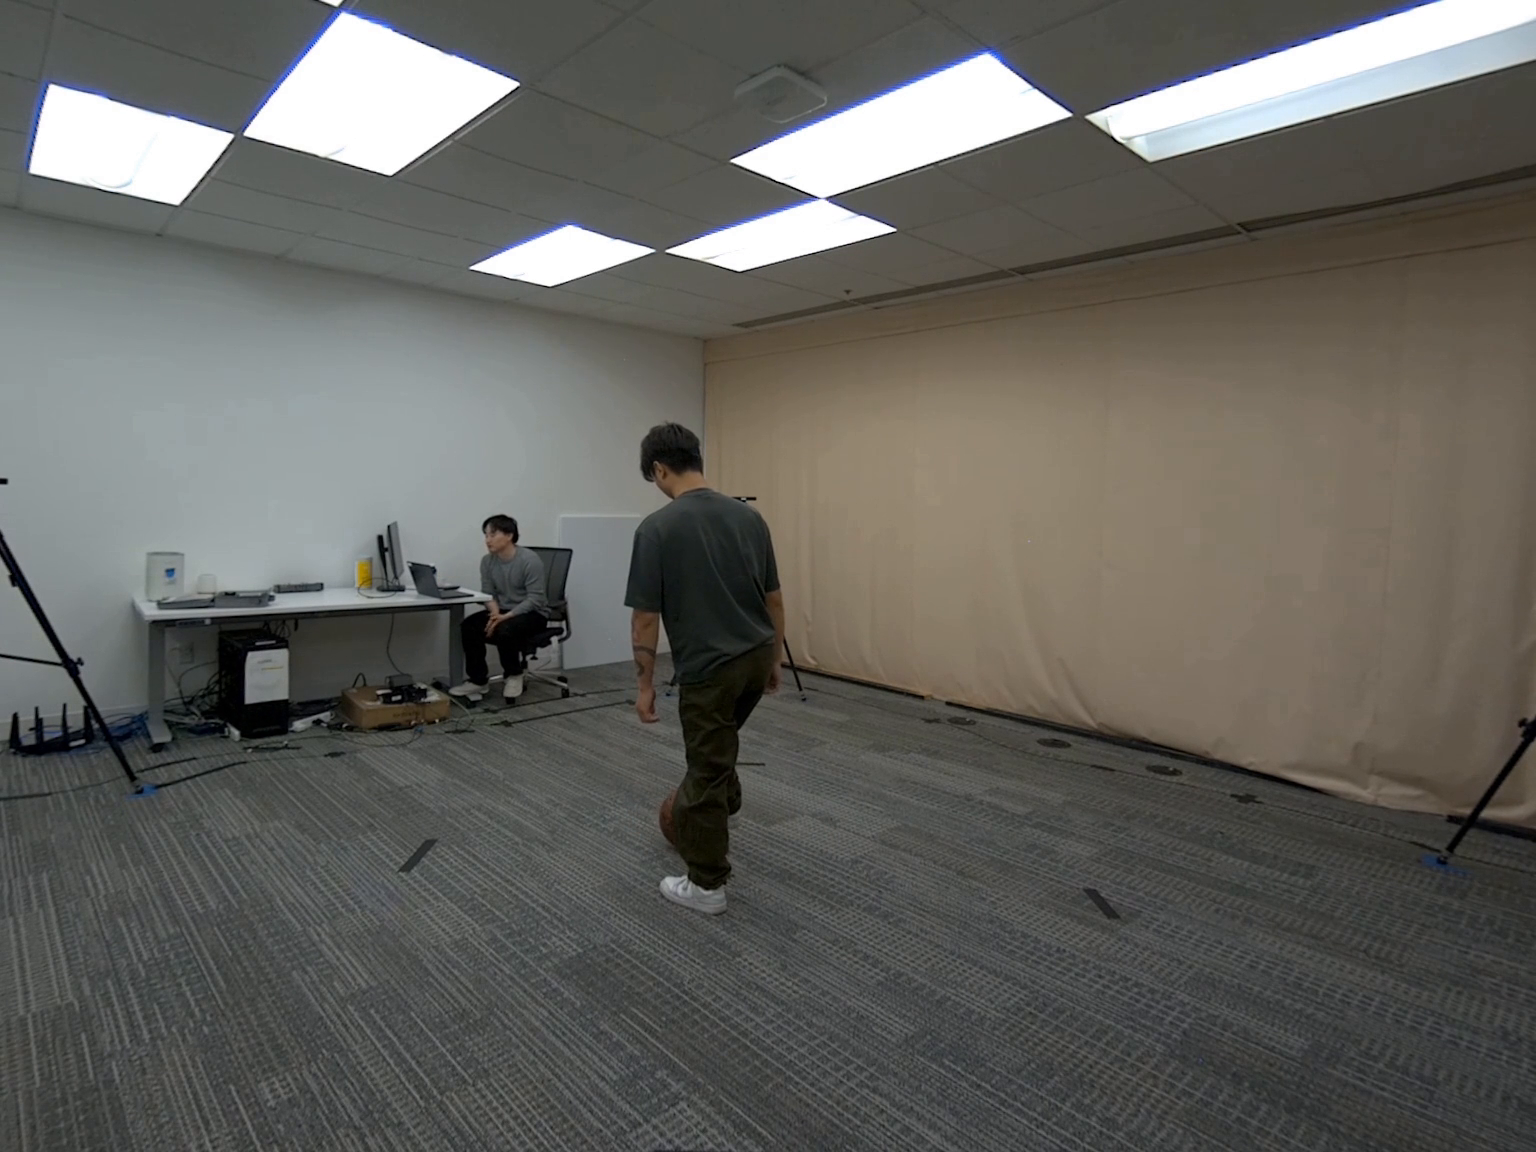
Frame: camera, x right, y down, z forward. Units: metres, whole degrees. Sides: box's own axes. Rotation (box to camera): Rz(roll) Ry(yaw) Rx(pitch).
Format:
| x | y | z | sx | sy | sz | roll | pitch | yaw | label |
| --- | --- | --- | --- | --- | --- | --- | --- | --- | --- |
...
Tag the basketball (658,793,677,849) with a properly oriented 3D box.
| x | y | z | sx | sy | sz | roll | pitch | yaw | label |
| --- | --- | --- | --- | --- | --- | --- | --- | --- | --- |
| -0.323 | 0.967 | 3.352 | 0.236 | 0.235 | 0.237 | 1 | 4 | -1 | basketball |
